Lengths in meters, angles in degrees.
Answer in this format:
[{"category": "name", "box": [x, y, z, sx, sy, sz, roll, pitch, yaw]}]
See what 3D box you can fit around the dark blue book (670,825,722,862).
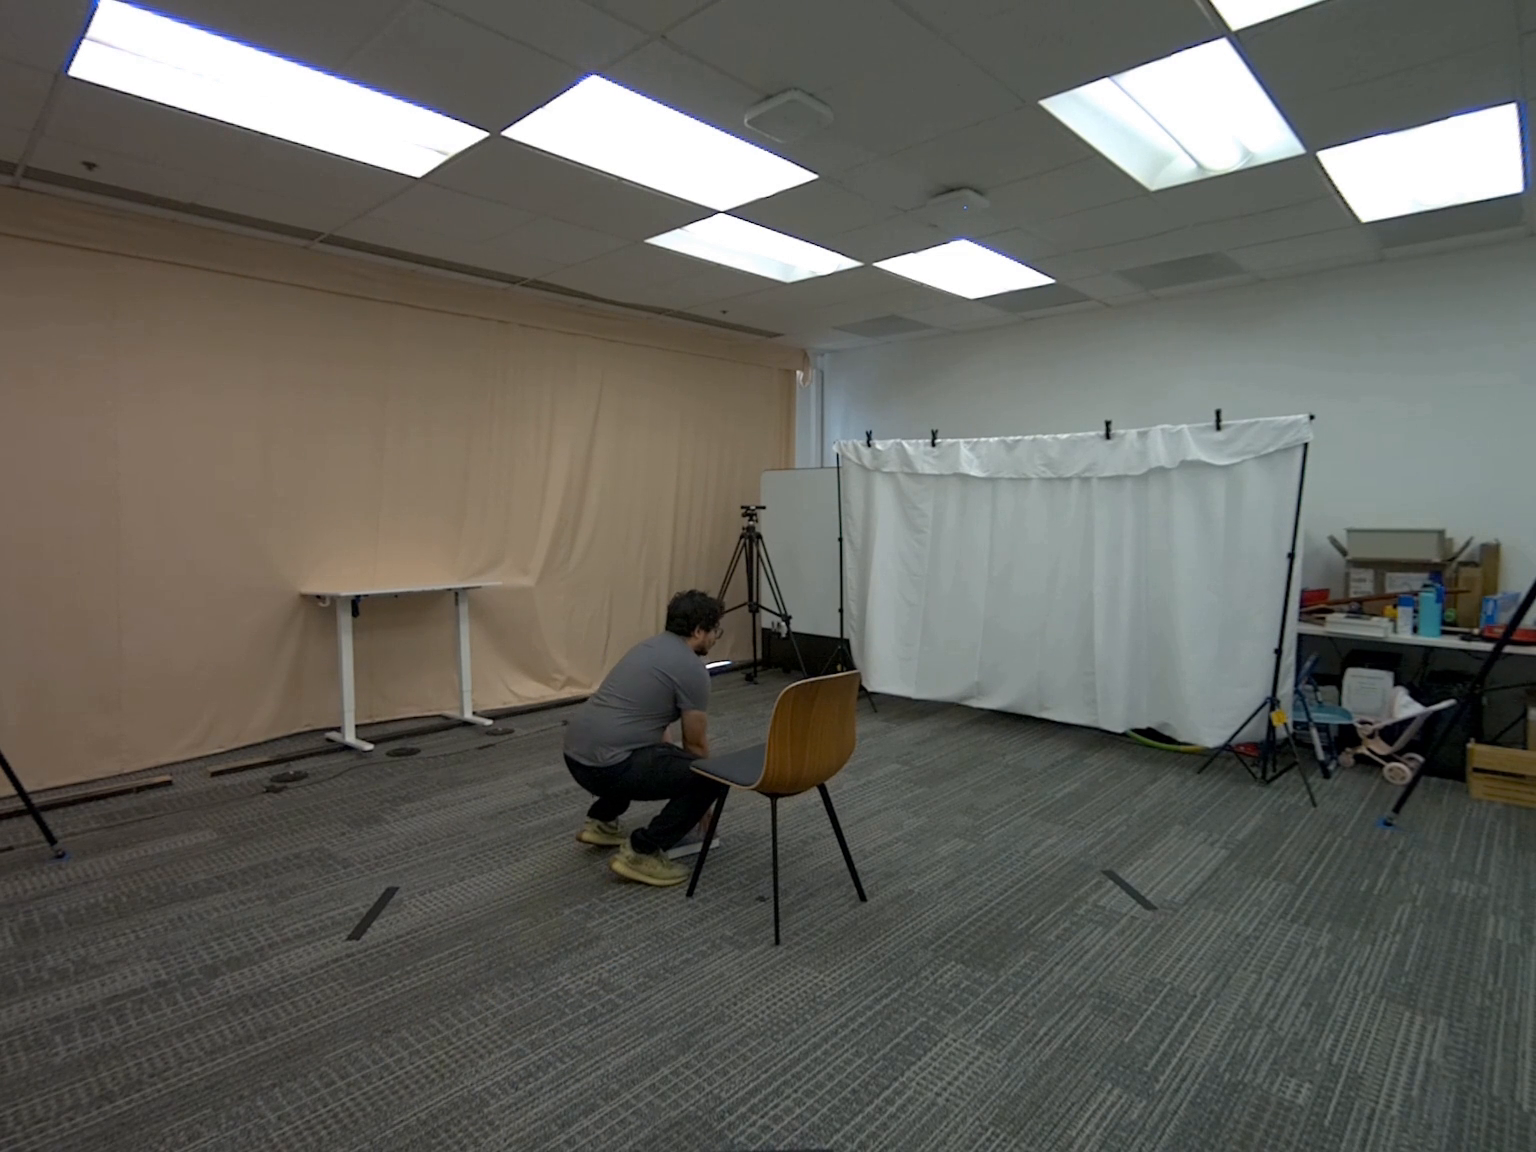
[{"category": "dark blue book", "box": [-0.339, 1.082, 3.432, 0.238, 0.045, 0.168, -3, 5, -34]}]
